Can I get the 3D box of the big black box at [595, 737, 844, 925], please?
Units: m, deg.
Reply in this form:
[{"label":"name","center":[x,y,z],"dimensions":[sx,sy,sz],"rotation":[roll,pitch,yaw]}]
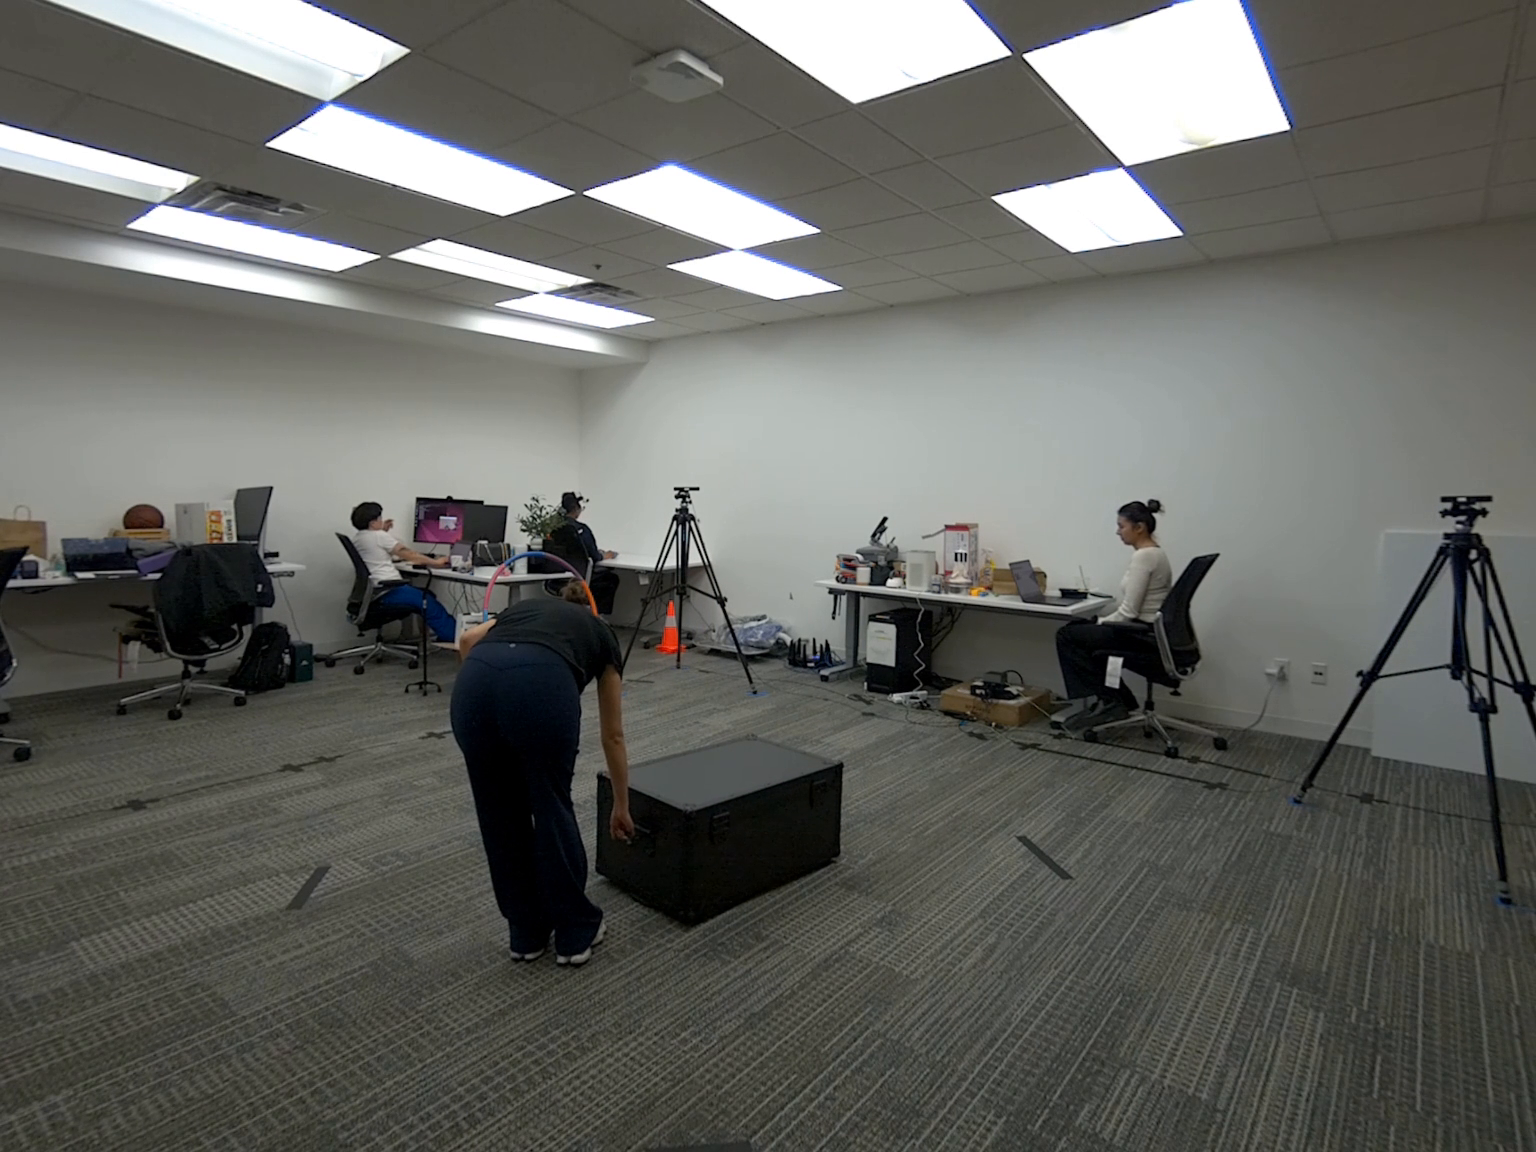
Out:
[{"label":"big black box","center":[-0.168,0.879,3.083],"dimensions":[0.835,0.395,0.539],"rotation":[-3,6,-45]}]
